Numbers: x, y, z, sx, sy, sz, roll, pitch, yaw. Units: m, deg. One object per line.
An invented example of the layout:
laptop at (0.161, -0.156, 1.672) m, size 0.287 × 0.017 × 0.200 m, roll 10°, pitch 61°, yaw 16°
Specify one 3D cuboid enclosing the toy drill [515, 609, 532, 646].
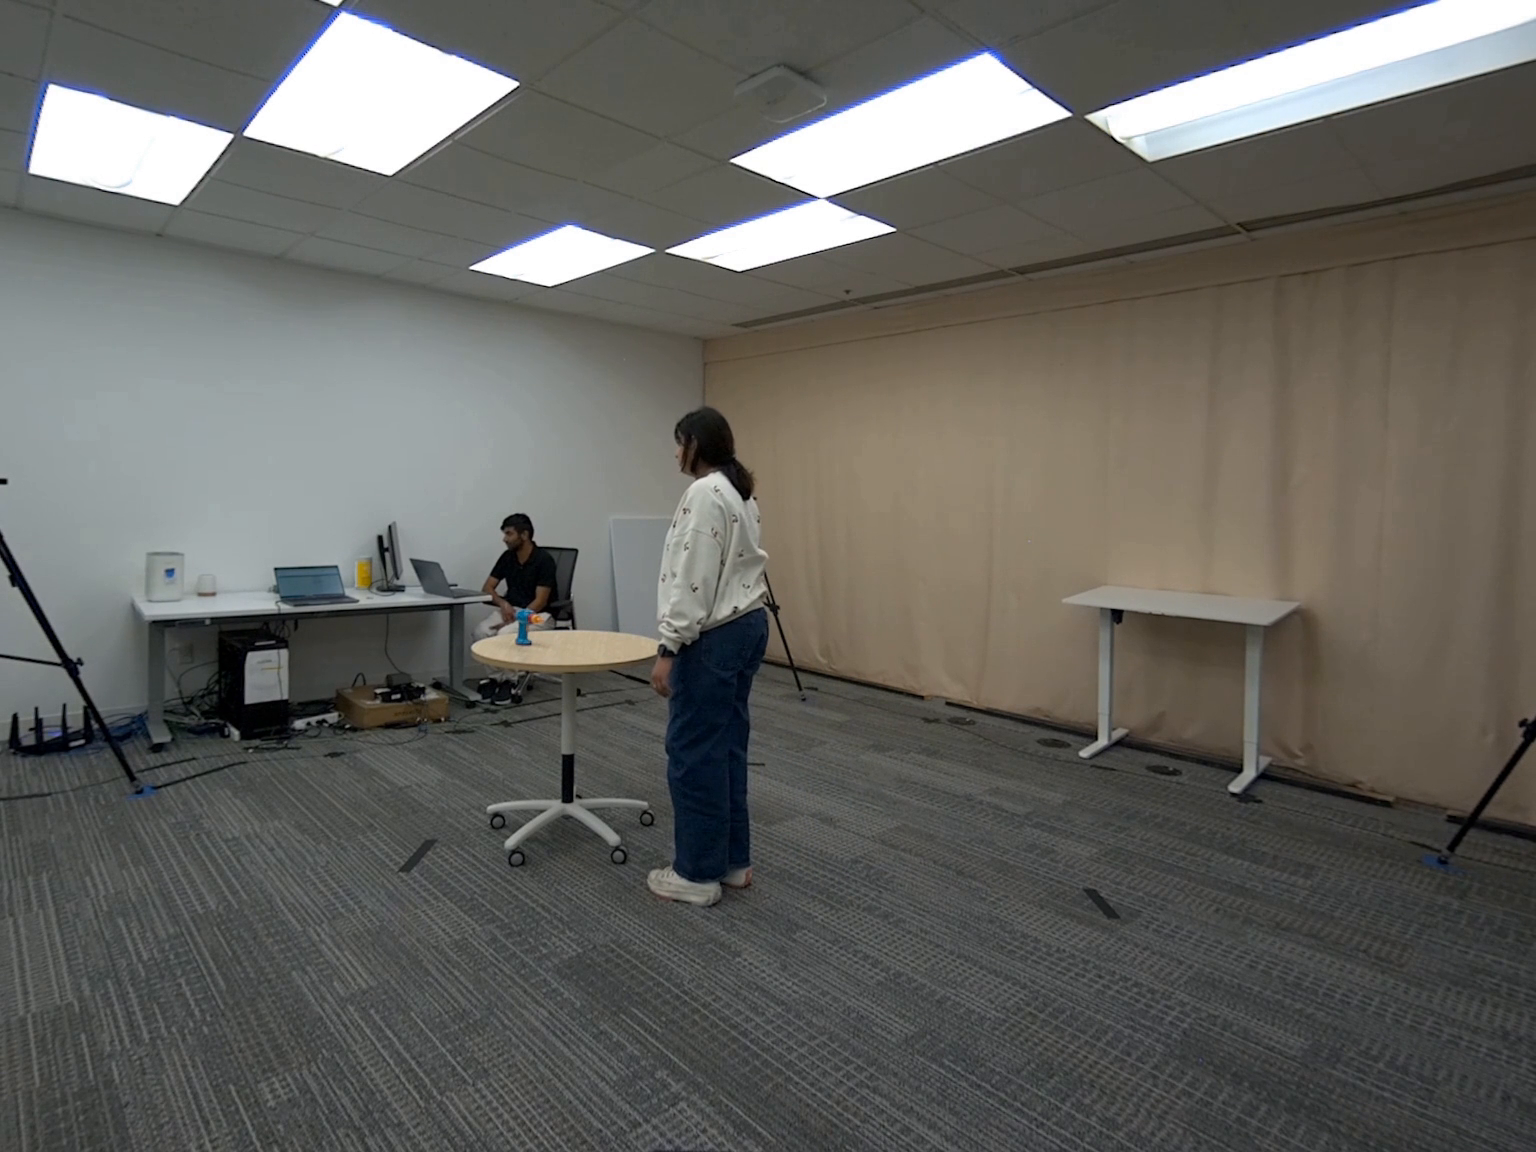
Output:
toy drill at (-0.959, 0.206, 3.376) m, size 0.174 × 0.146 × 0.060 m, roll 4°, pitch 4°, yaw 33°
